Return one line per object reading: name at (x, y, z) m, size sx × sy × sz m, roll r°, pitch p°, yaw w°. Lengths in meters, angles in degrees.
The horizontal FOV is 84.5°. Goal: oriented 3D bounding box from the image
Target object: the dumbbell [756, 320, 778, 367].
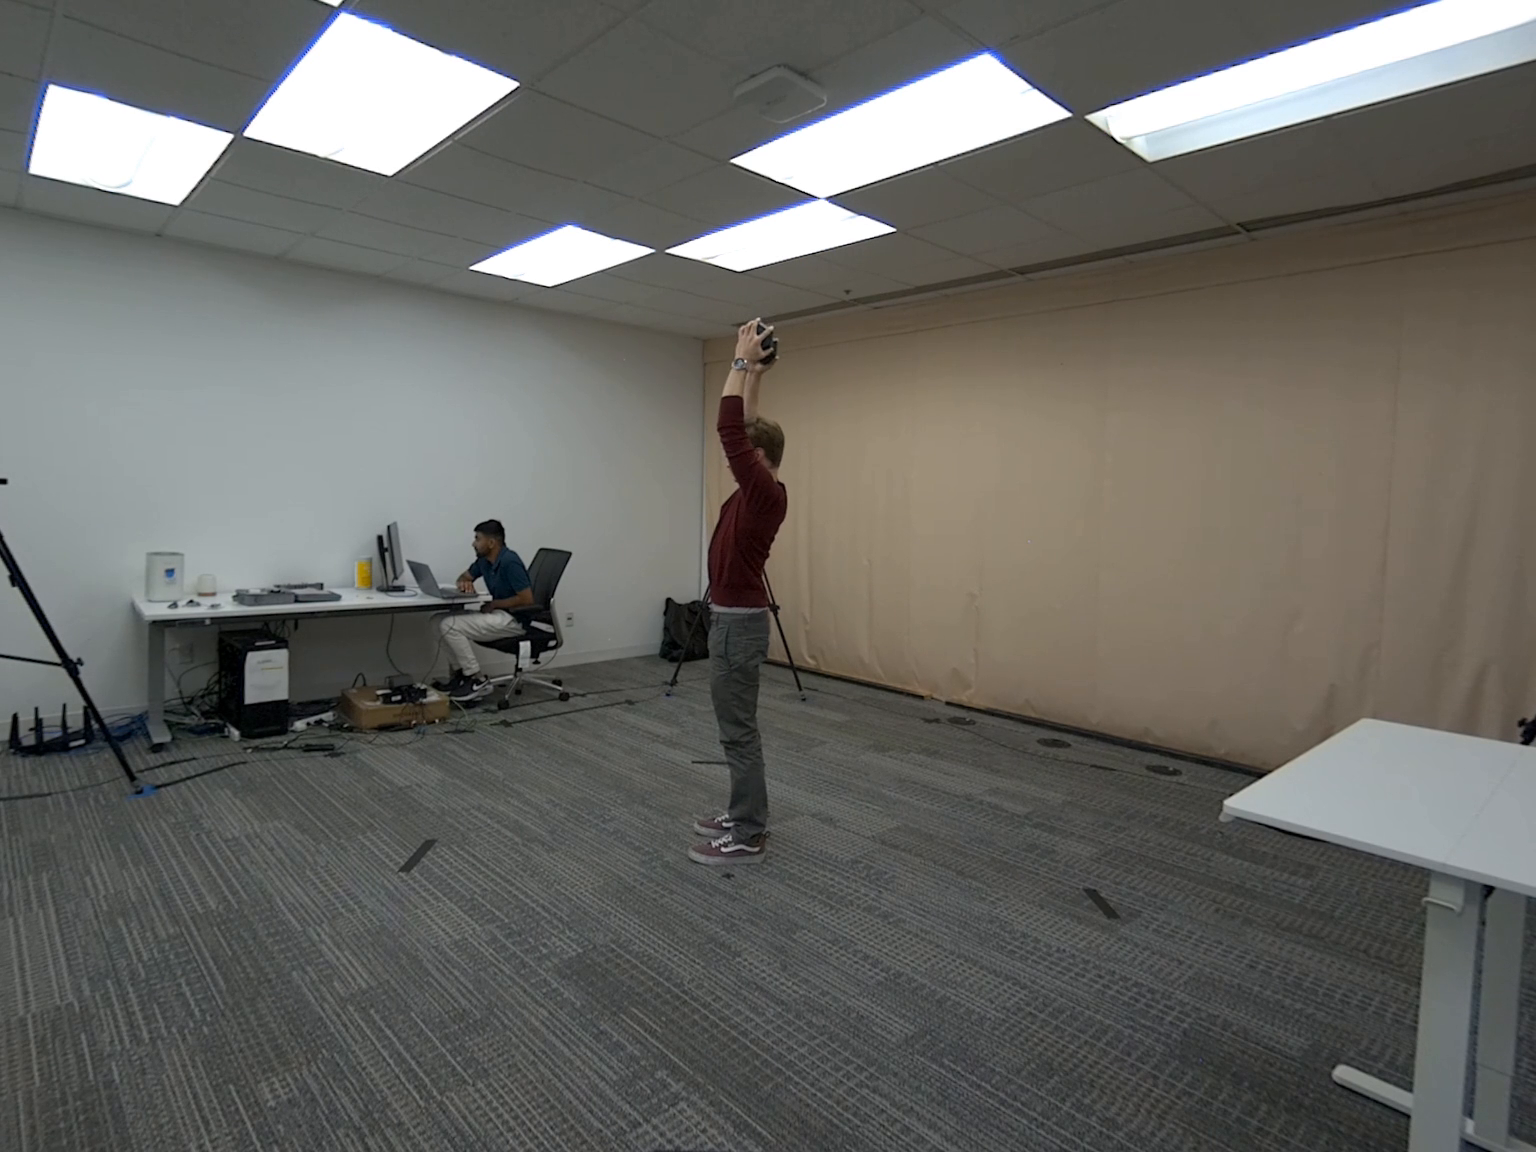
dumbbell at (-0.042, -0.894, 3.256) m, size 0.123 × 0.108 × 0.293 m, roll 34°, pitch 7°, yaw 2°
